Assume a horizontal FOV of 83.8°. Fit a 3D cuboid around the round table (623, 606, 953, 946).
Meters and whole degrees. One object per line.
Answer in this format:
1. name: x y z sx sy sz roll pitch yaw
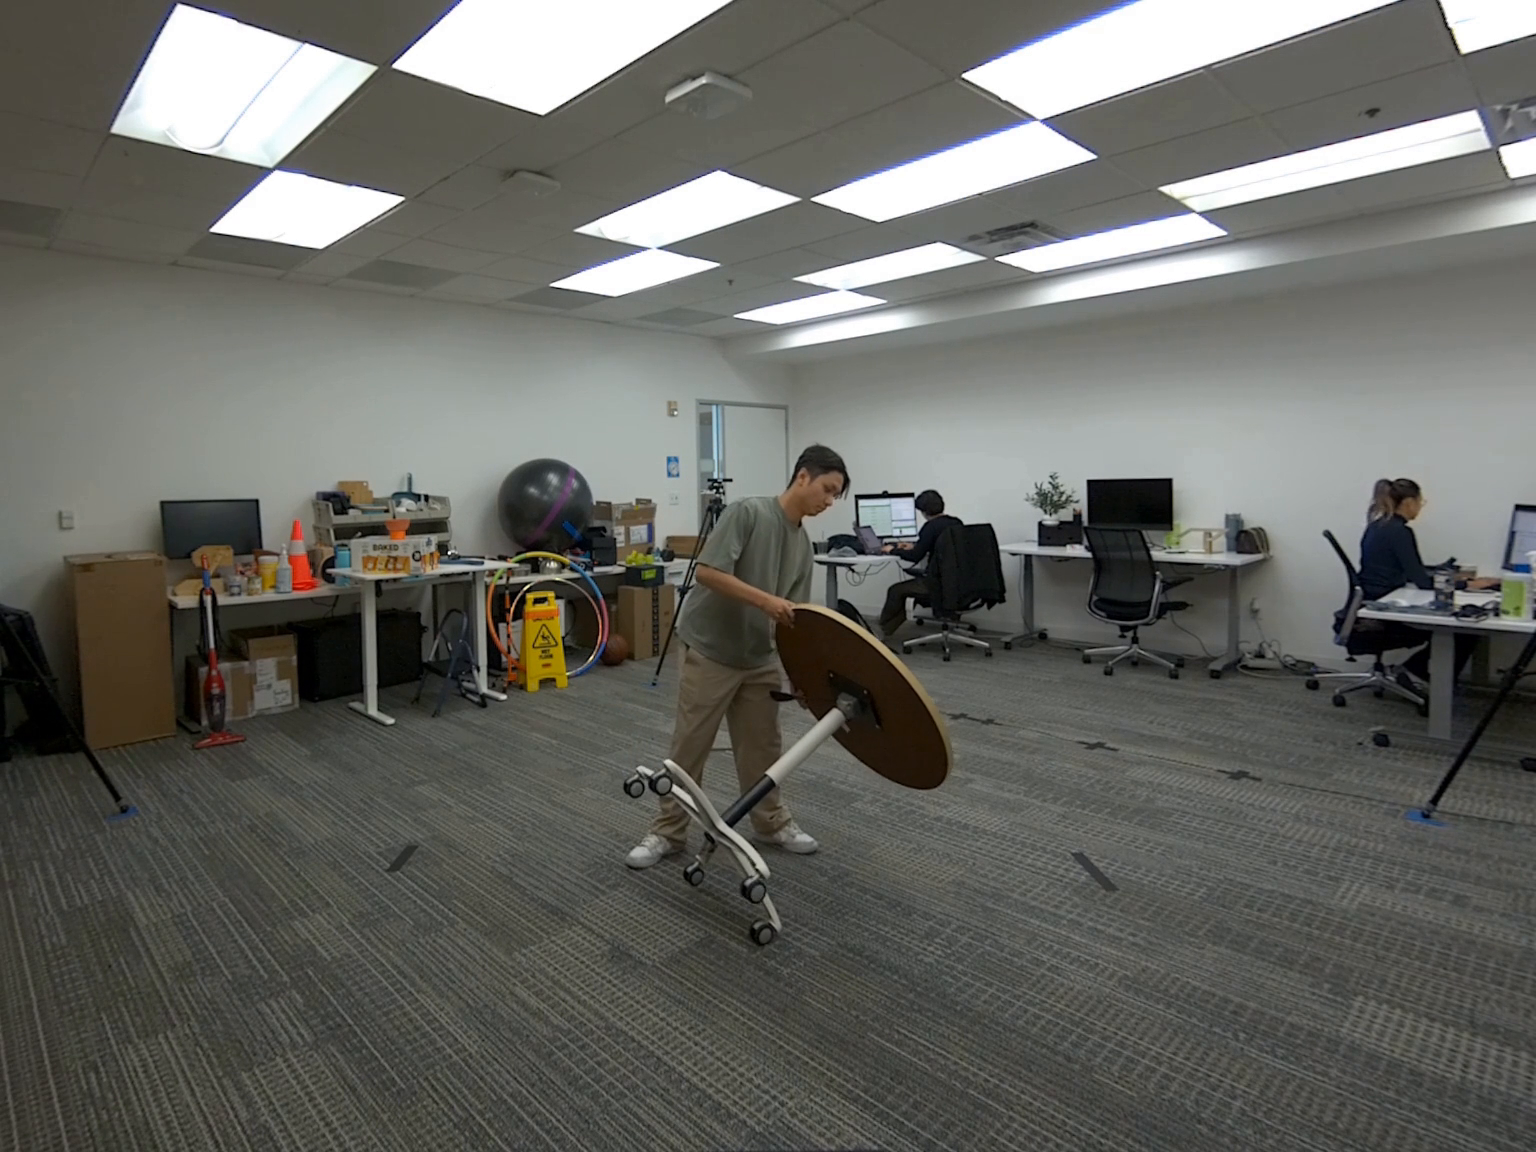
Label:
1. round table: 0.051 0.635 2.753 0.782 0.767 0.808 -38 23 -25
